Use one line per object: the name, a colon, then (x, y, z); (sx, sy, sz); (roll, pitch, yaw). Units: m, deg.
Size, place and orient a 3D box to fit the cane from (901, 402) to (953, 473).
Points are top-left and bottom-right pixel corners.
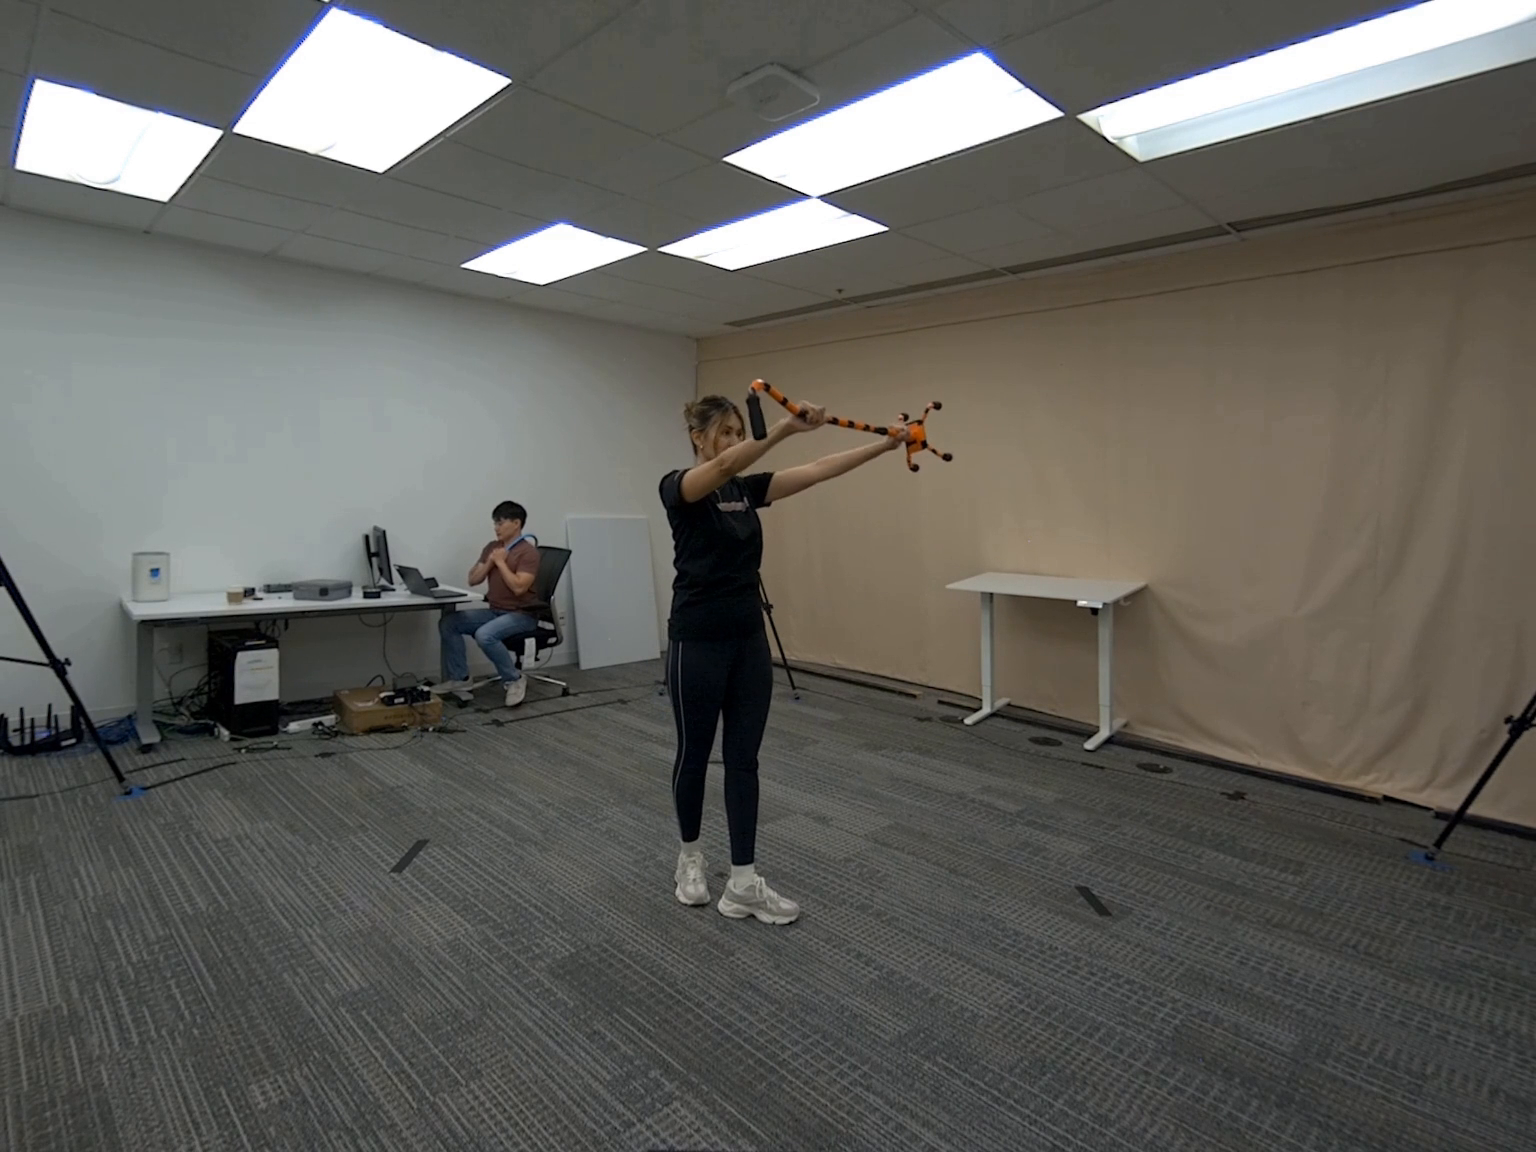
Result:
cane: (0.236, -0.448, 2.438); (0.154, 0.208, 0.887); (-16, -9, 39)
